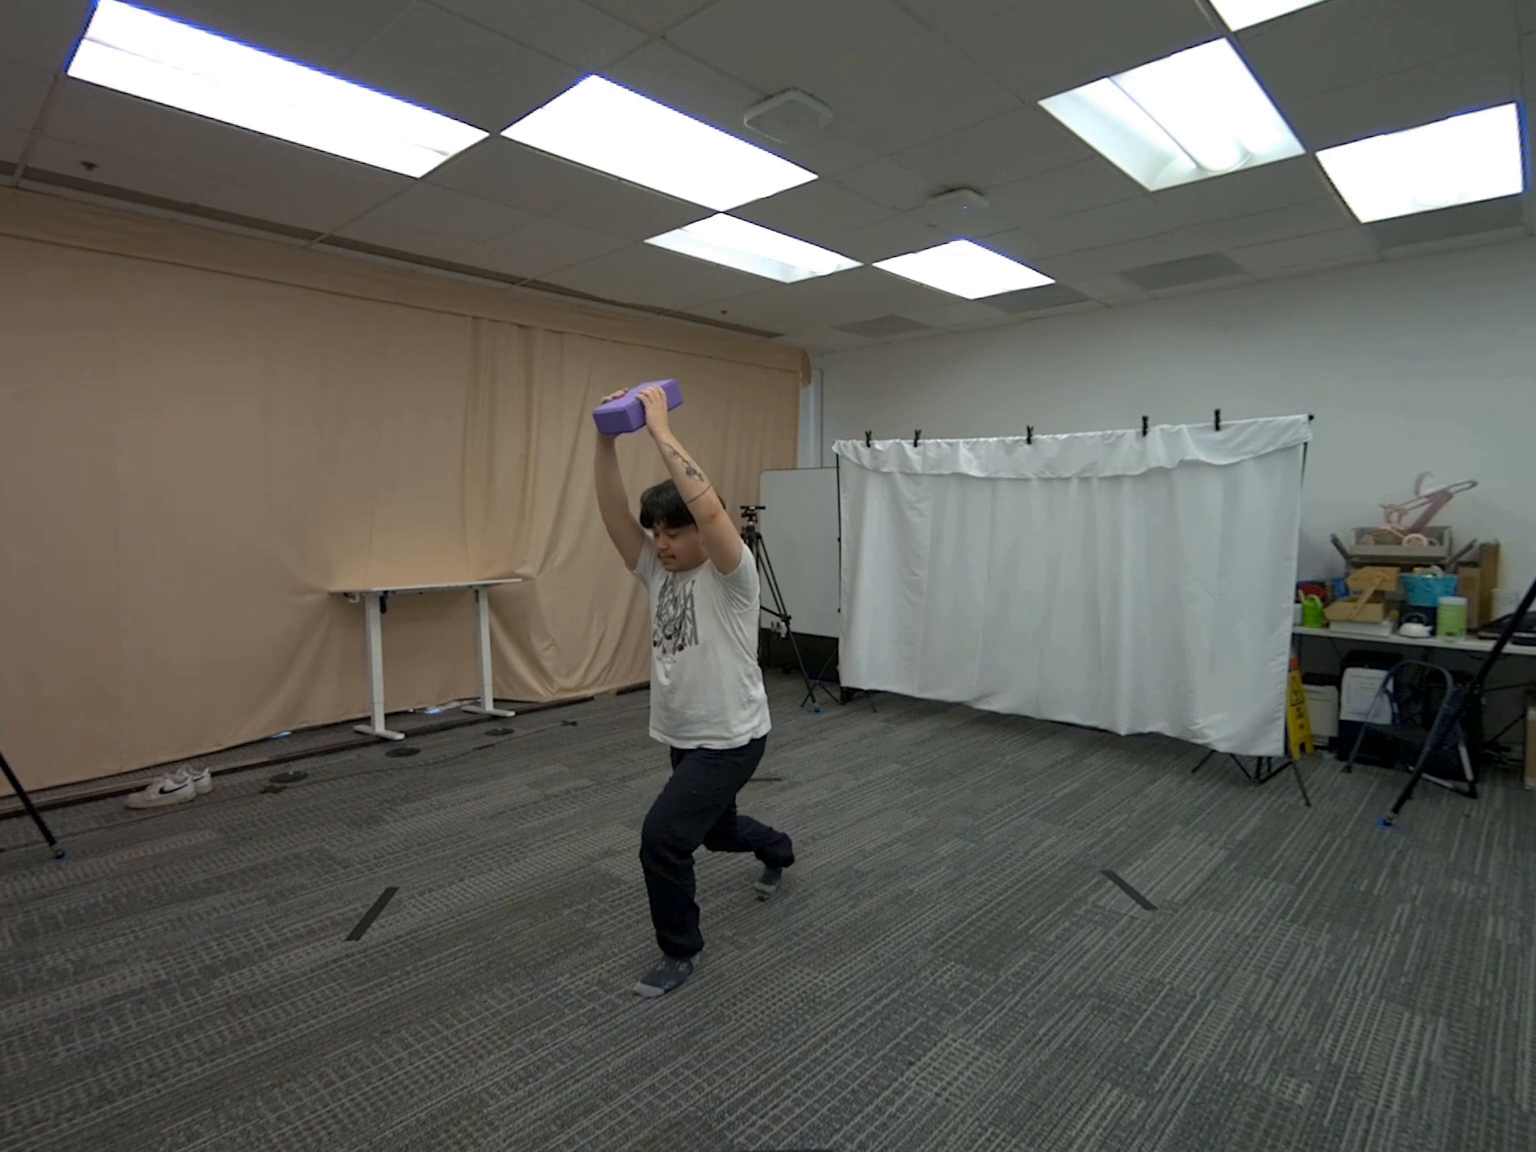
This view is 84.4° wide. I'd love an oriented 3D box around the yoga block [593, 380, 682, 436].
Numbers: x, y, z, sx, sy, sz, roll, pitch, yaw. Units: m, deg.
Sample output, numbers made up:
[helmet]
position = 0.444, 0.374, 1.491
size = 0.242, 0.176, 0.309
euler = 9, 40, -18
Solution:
[yoga block]
position = -0.366, -0.483, 2.408
size = 0.154, 0.075, 0.226
euler = 4, 32, 40
